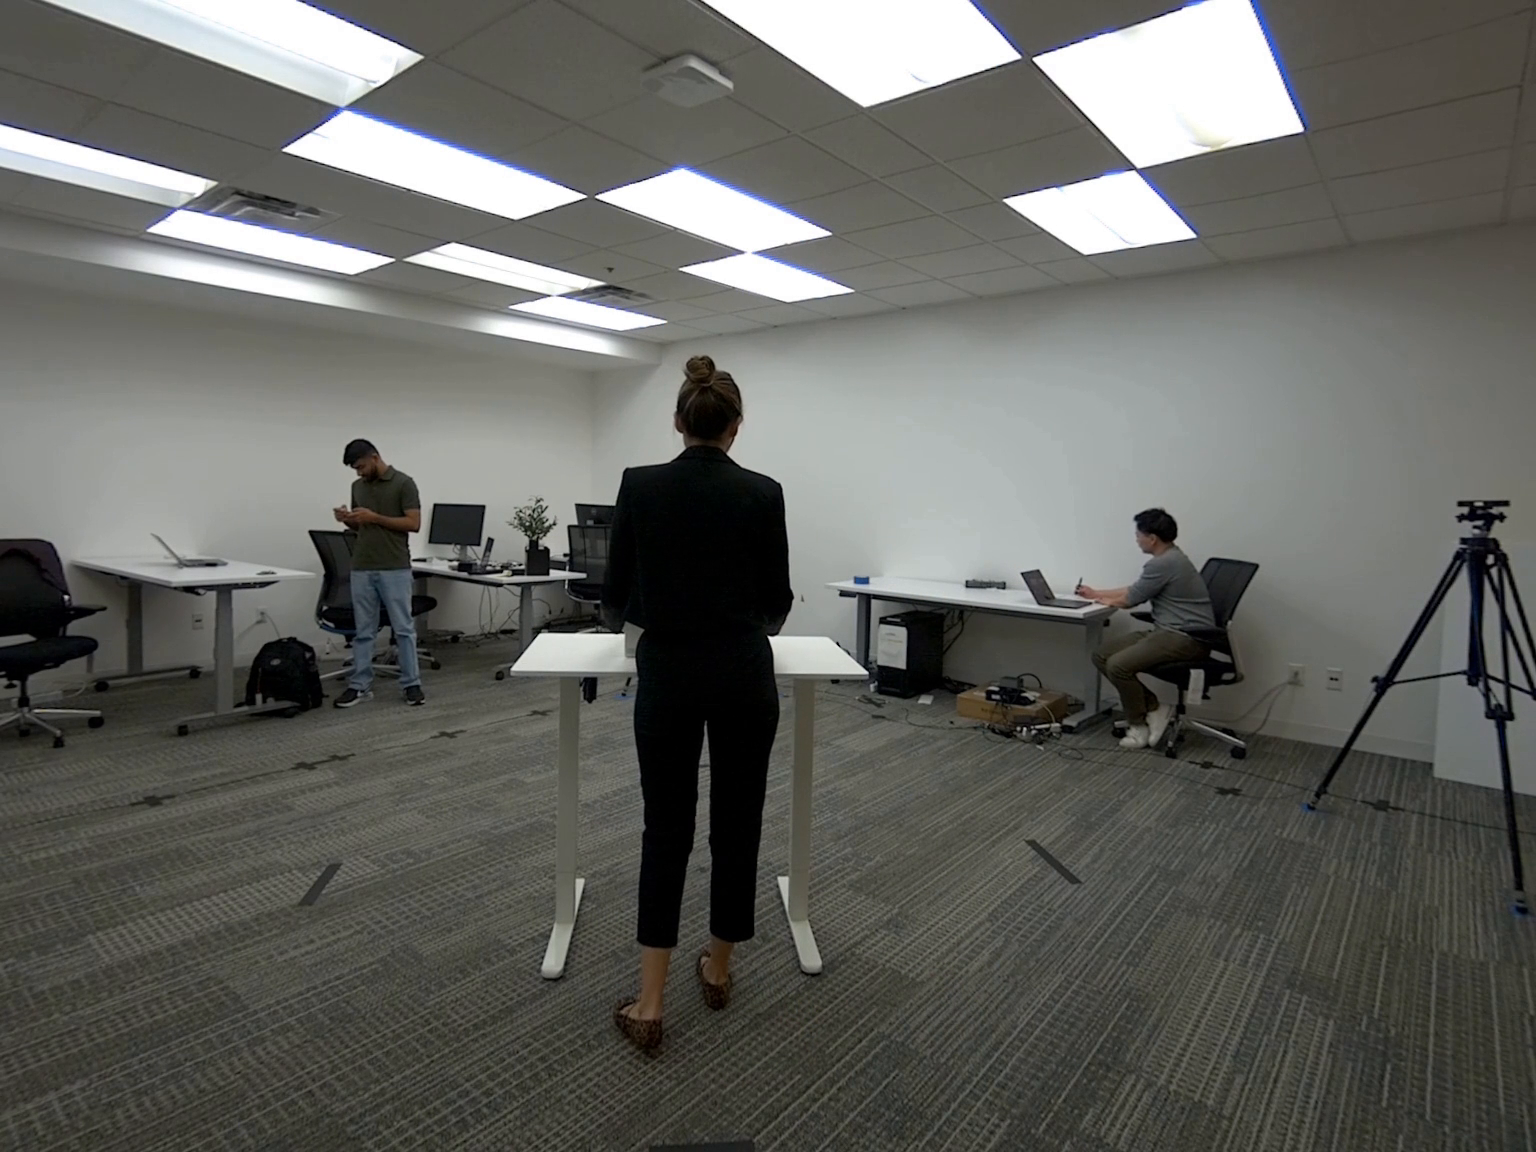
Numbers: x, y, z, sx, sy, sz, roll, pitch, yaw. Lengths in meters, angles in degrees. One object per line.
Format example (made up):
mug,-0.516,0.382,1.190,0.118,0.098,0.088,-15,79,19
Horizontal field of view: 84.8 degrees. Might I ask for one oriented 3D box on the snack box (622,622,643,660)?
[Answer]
snack box,-0.261,0.126,2.734,0.402,0.205,0.344,1,5,-7
